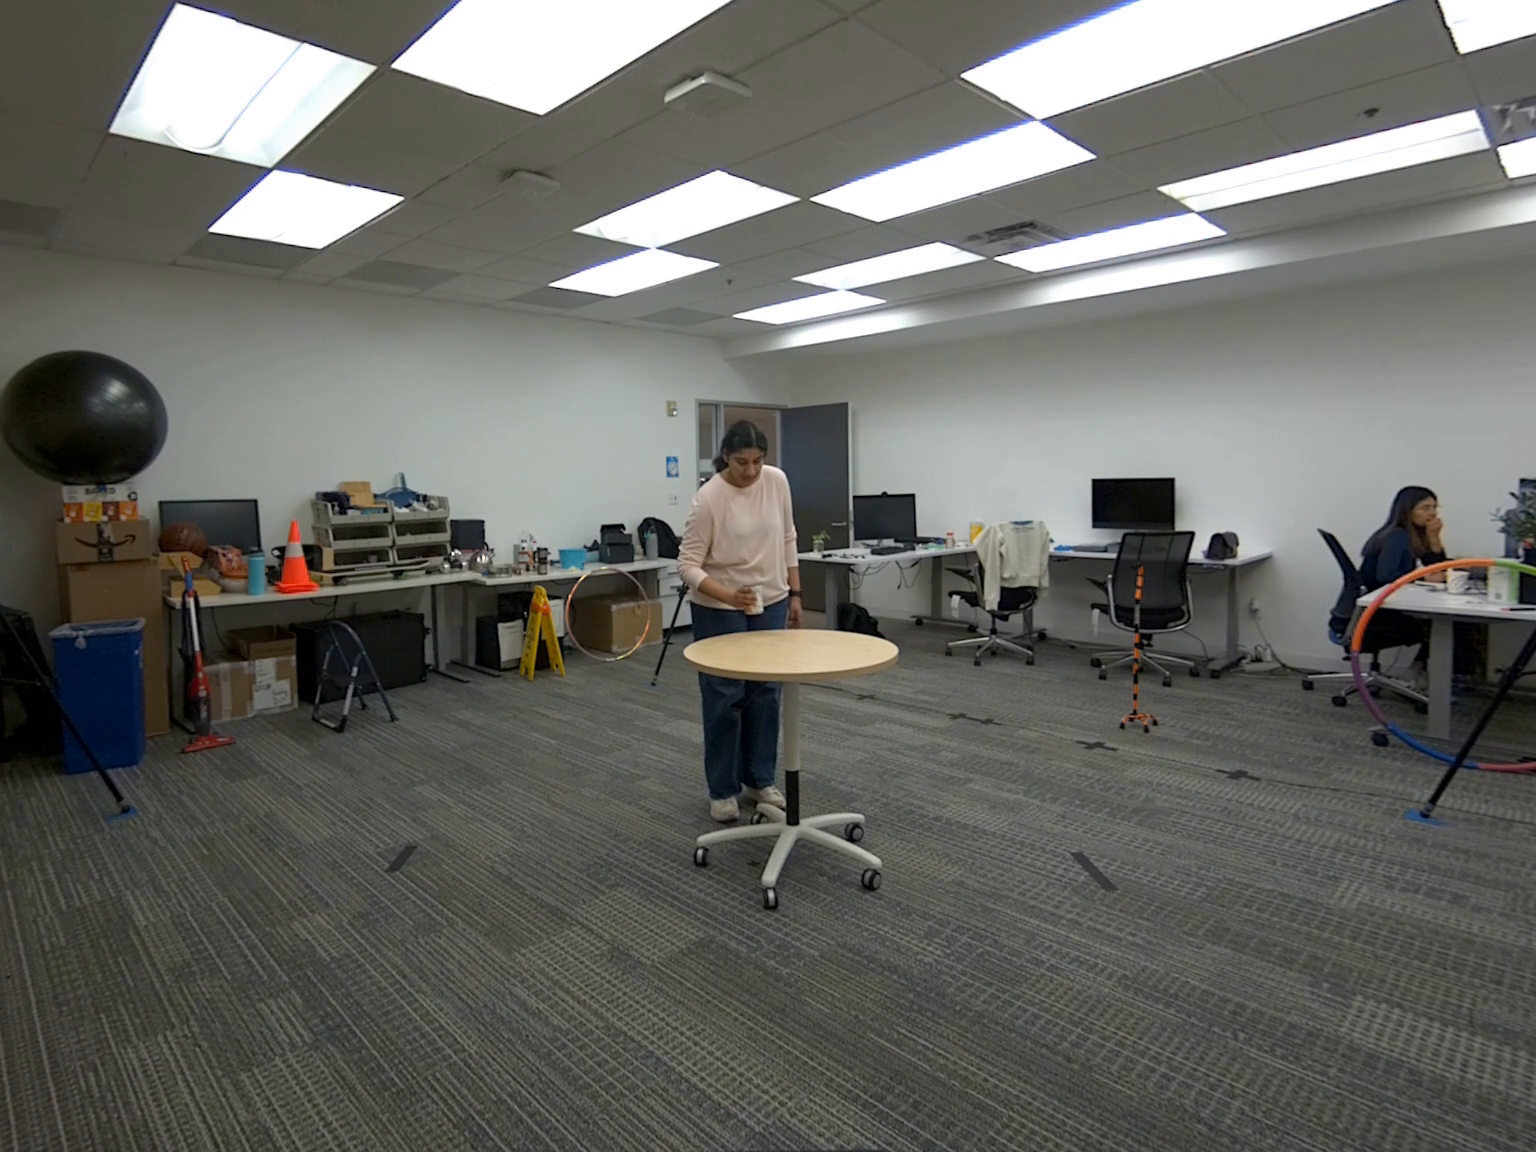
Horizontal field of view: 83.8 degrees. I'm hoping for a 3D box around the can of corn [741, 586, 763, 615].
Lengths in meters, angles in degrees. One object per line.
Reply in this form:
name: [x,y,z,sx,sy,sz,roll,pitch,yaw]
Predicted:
can of corn: [-0.064,0.091,3.314,0.074,0.110,0.074,-2,4,-1]
